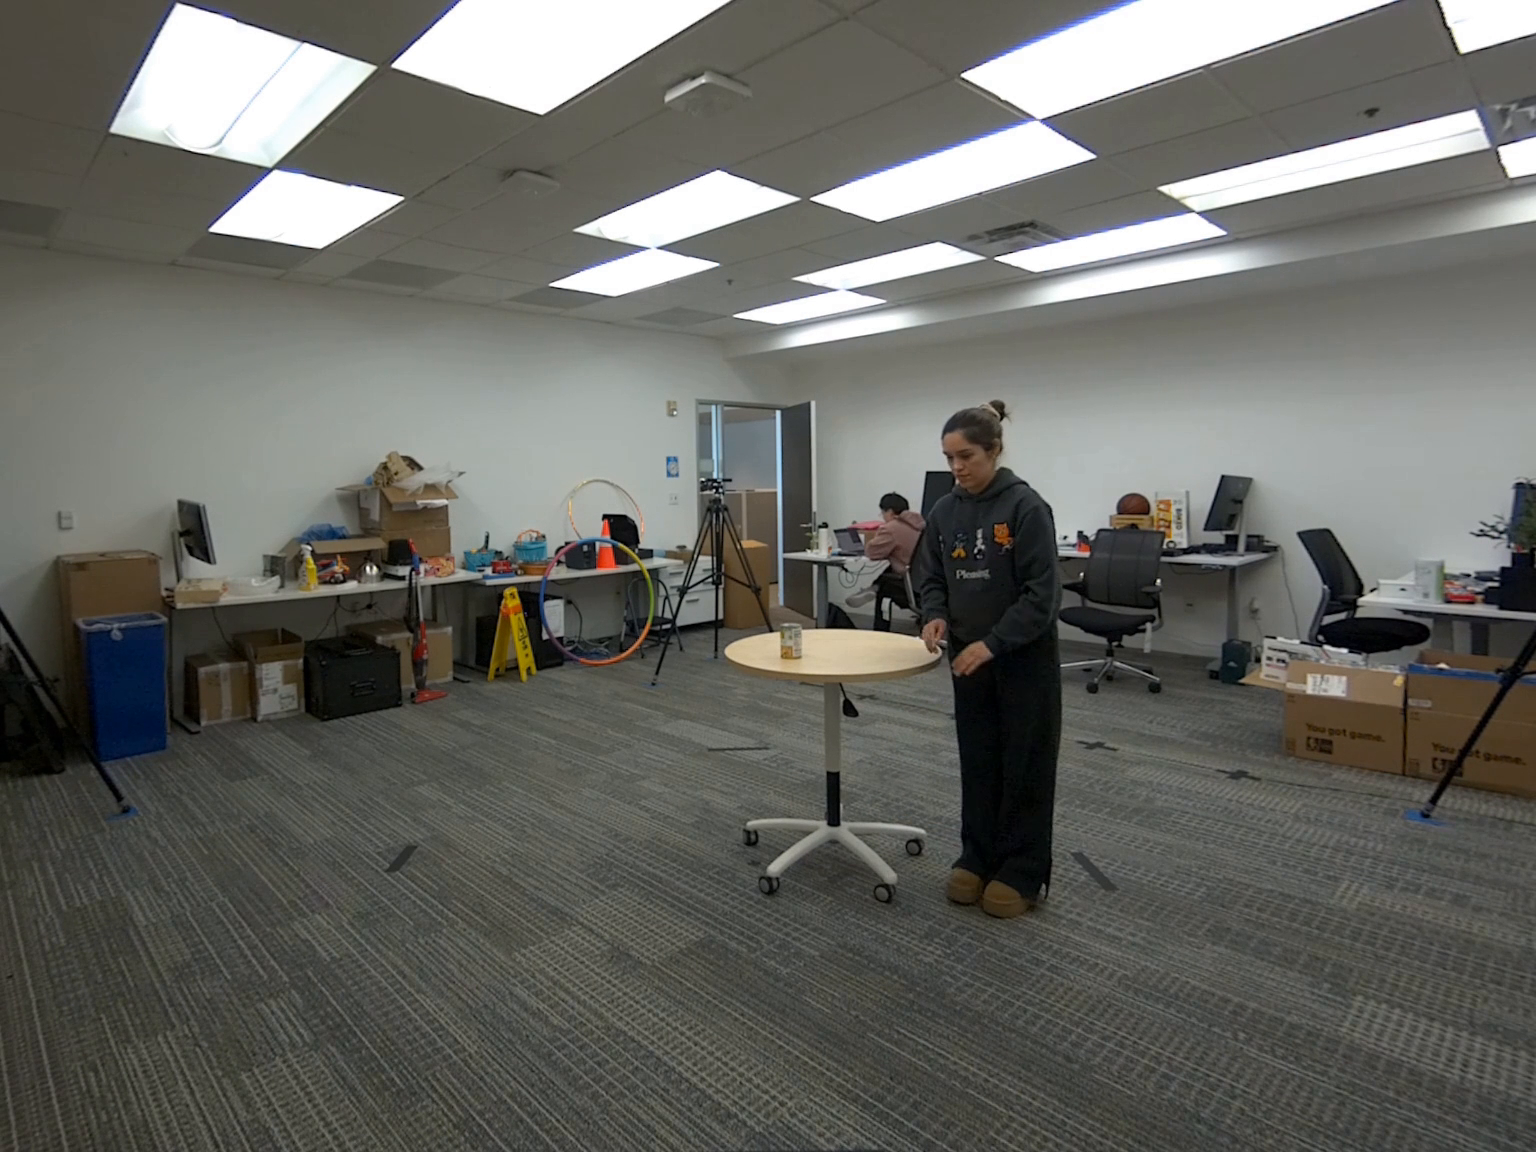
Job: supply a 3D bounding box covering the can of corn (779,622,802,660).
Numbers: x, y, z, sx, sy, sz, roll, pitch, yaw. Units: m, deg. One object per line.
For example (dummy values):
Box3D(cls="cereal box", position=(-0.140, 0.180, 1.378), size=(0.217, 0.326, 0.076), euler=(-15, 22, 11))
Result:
Box3D(cls="can of corn", position=(0.080, 0.219, 2.934), size=(0.074, 0.110, 0.074), euler=(-2, 4, -1))
